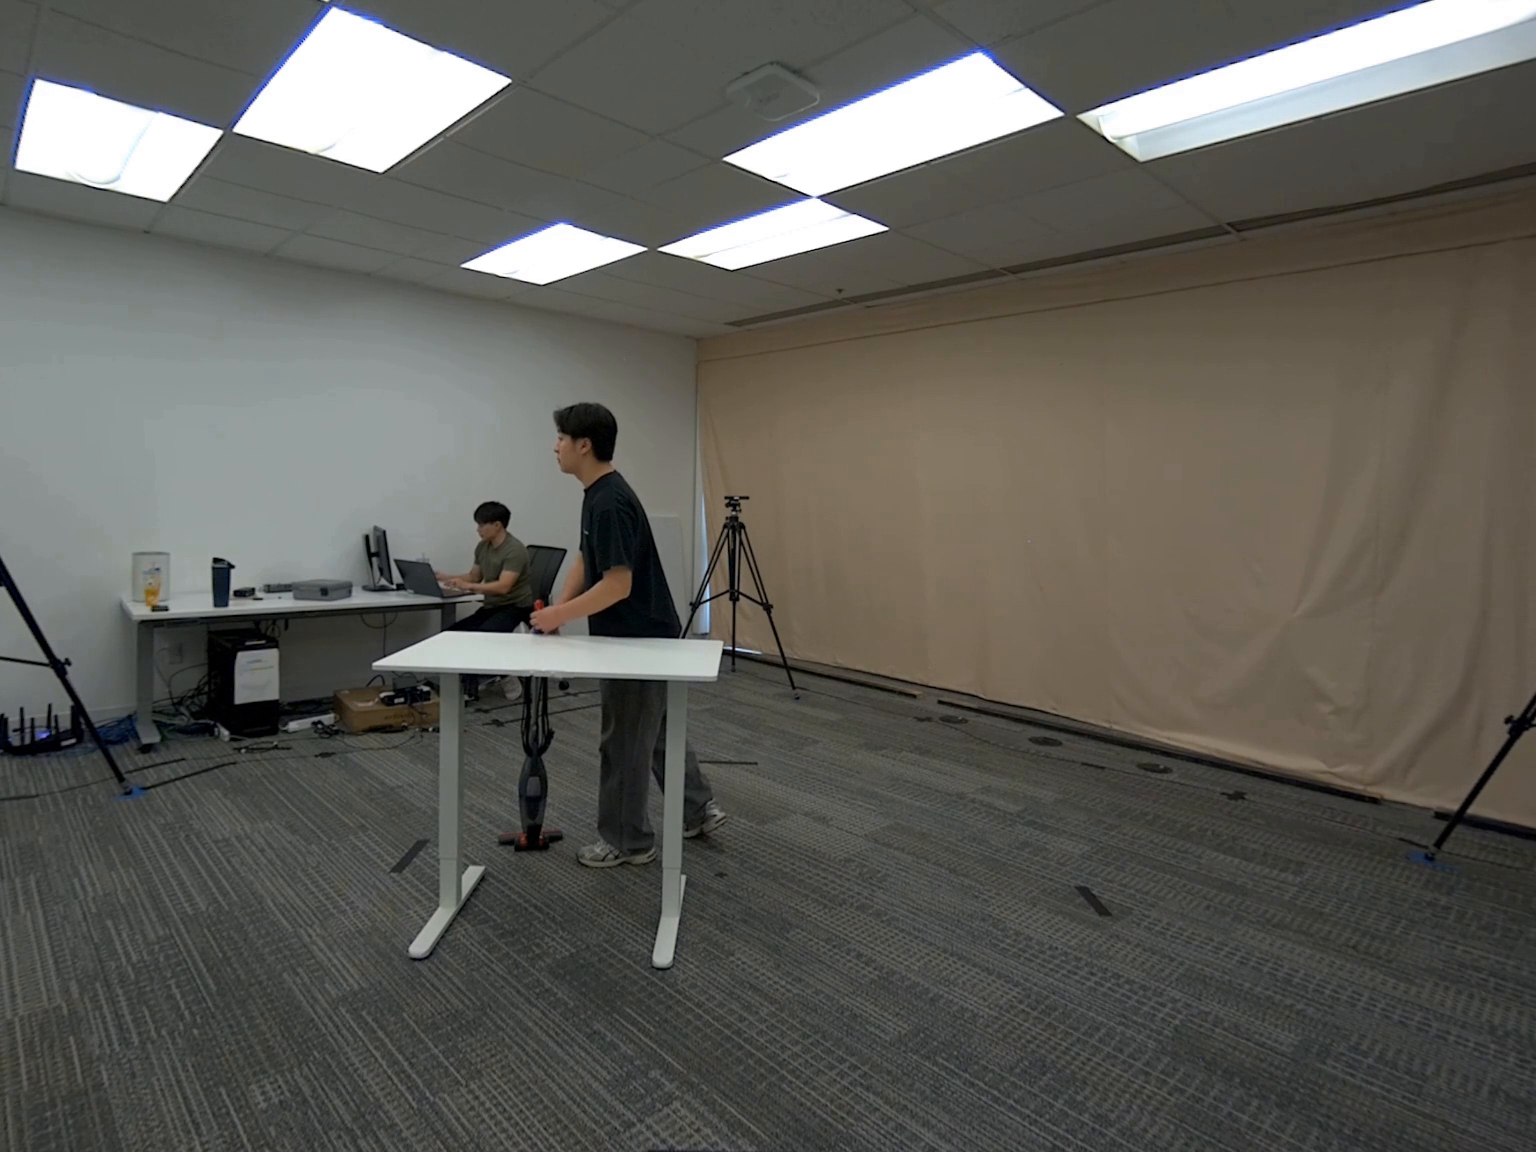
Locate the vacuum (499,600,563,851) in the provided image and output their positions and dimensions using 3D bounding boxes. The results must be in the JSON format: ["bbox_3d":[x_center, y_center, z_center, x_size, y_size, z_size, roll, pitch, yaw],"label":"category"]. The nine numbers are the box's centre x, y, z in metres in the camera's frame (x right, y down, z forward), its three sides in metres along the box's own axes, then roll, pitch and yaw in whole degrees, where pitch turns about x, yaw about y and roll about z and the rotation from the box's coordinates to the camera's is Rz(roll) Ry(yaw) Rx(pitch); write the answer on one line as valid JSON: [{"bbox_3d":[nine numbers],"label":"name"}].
[{"bbox_3d":[-0.879,0.582,3.160,0.249,1.036,0.148,0,22,-21],"label":"vacuum"}]
